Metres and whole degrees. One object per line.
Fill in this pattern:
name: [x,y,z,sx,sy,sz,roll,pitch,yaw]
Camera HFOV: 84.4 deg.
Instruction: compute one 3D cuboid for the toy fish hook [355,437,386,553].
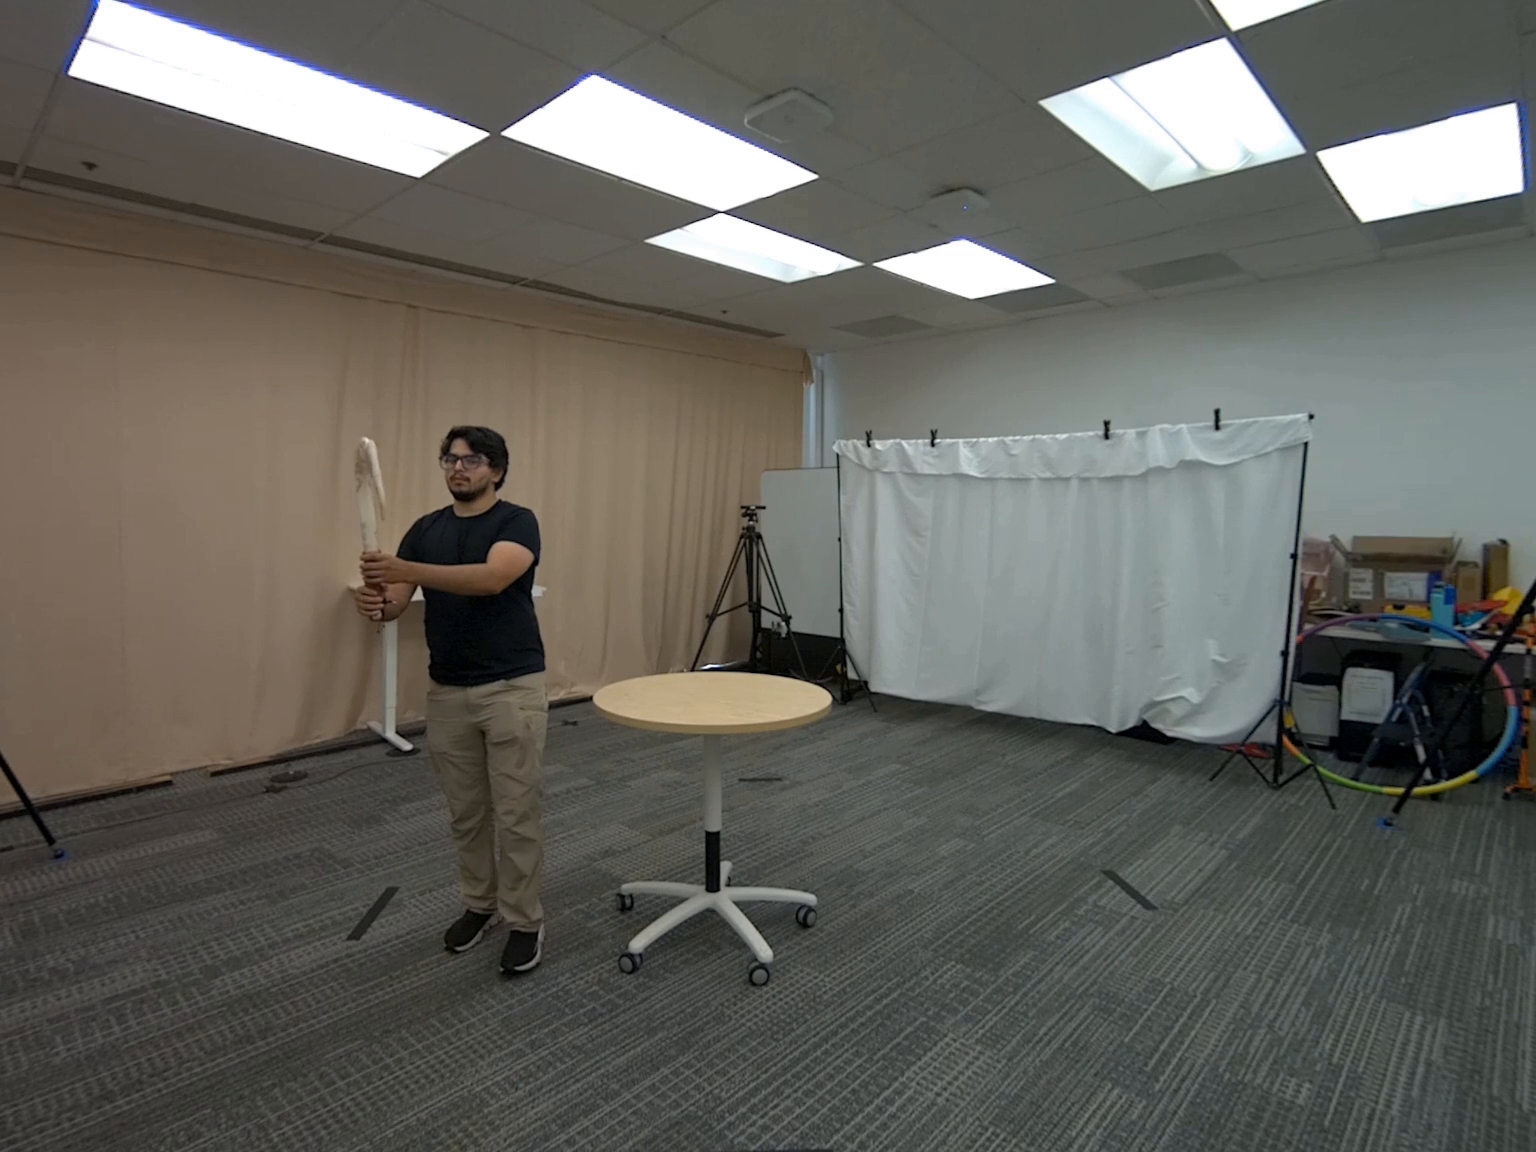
toy fish hook: [-1.029,-0.105,2.200,0.047,0.502,0.232,-7,18,-31]
